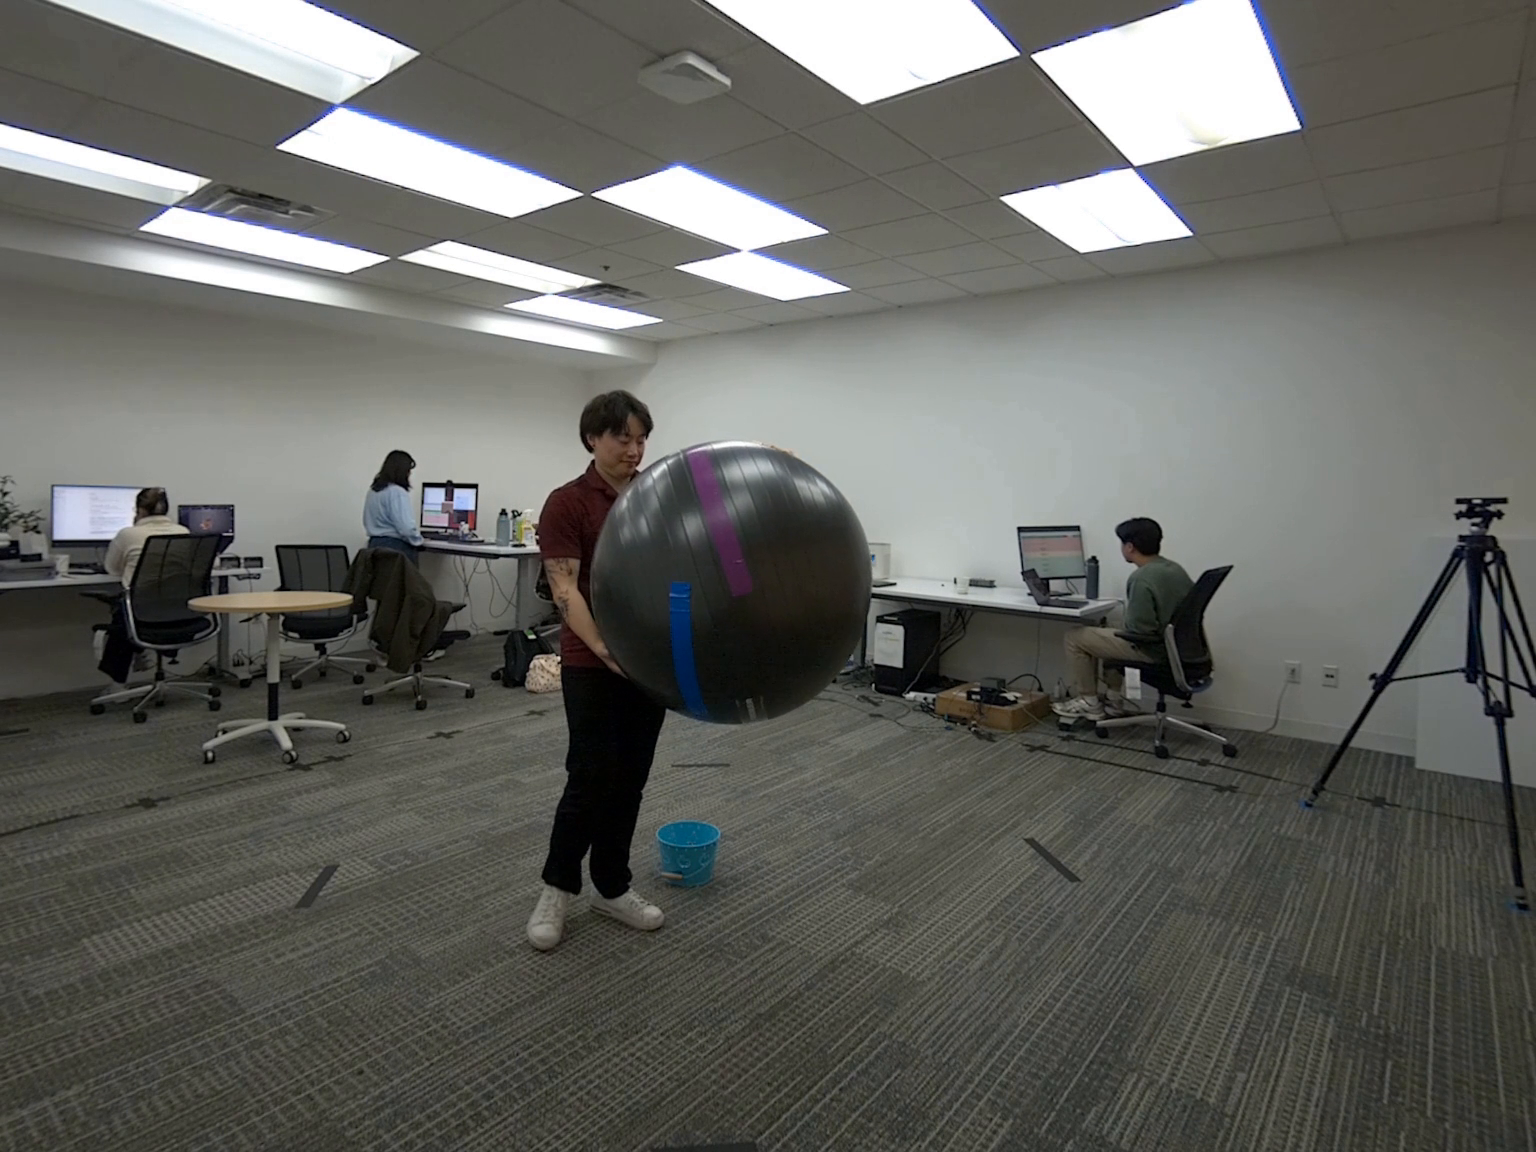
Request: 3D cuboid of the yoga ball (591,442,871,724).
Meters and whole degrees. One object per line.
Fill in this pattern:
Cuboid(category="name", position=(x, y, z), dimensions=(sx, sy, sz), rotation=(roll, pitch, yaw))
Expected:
Cuboid(category="yoga ball", position=(-0.106, 0.016, 2.305), dimensions=(0.757, 0.756, 0.761), rotation=(1, 4, -2))
